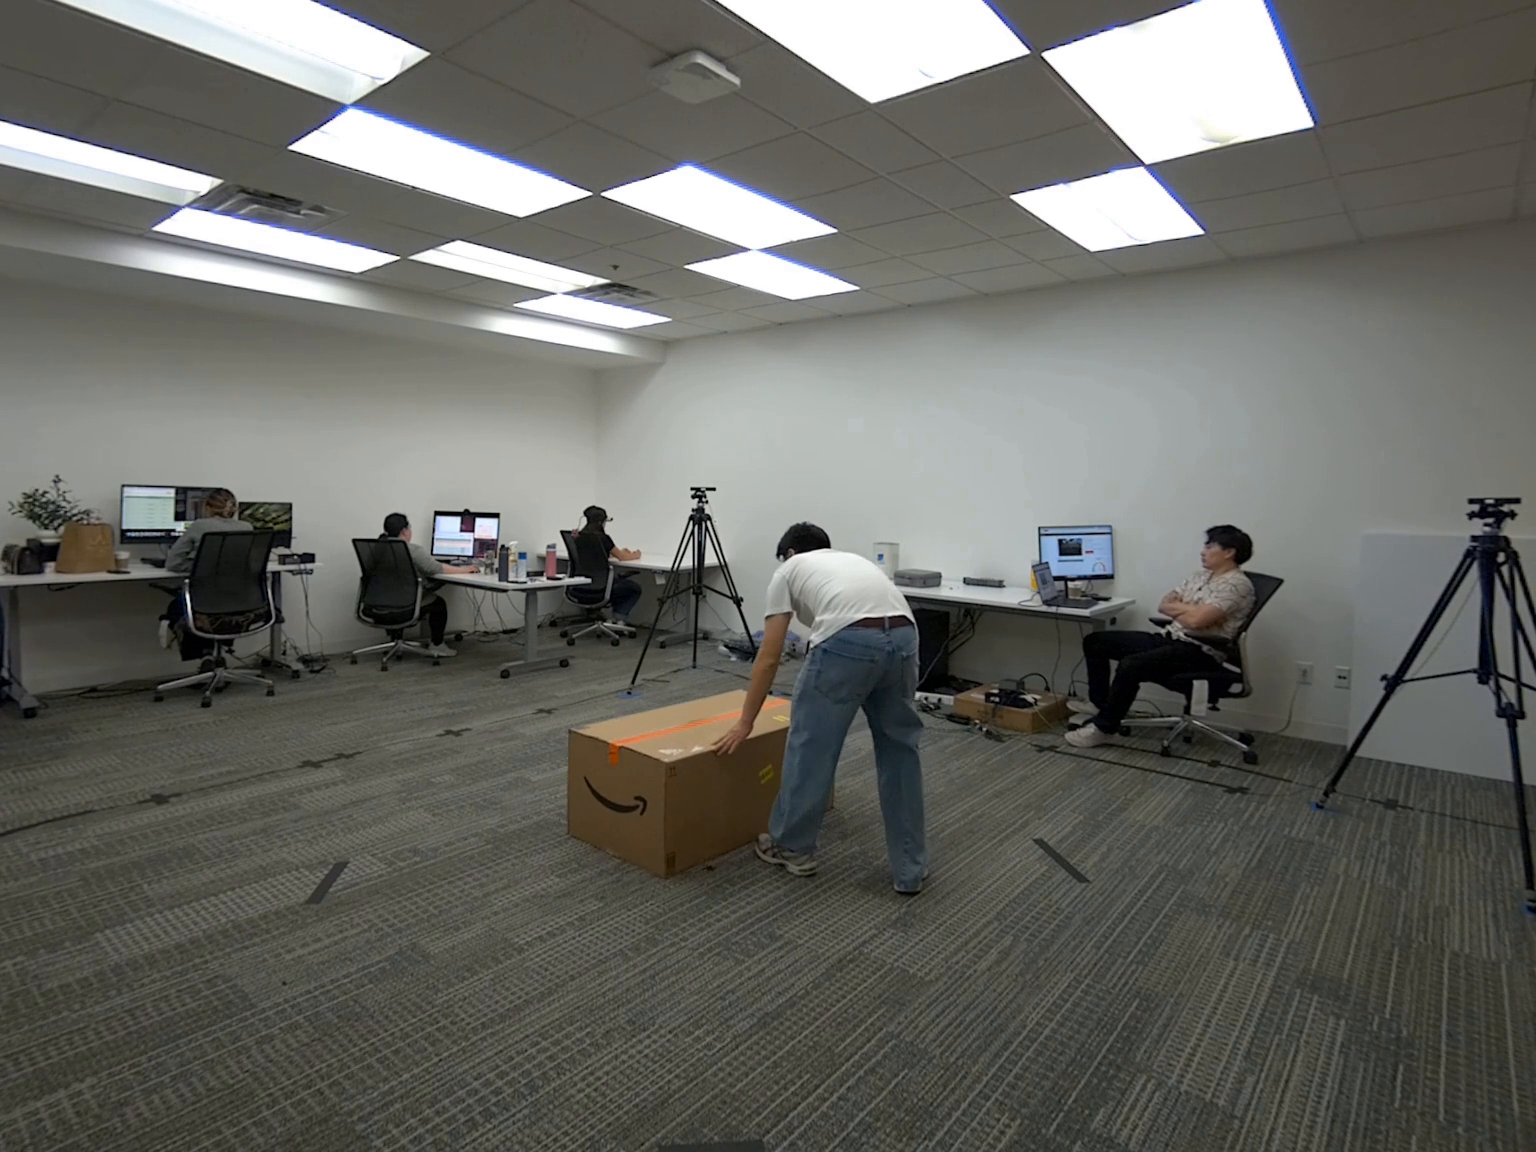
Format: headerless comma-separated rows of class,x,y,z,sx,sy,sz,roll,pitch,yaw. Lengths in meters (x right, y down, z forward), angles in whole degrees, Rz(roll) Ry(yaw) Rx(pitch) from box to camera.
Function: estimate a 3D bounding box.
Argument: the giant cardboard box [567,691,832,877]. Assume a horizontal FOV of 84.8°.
giant cardboard box,-0.265,0.806,3.559,0.597,0.424,0.995,6,7,41
